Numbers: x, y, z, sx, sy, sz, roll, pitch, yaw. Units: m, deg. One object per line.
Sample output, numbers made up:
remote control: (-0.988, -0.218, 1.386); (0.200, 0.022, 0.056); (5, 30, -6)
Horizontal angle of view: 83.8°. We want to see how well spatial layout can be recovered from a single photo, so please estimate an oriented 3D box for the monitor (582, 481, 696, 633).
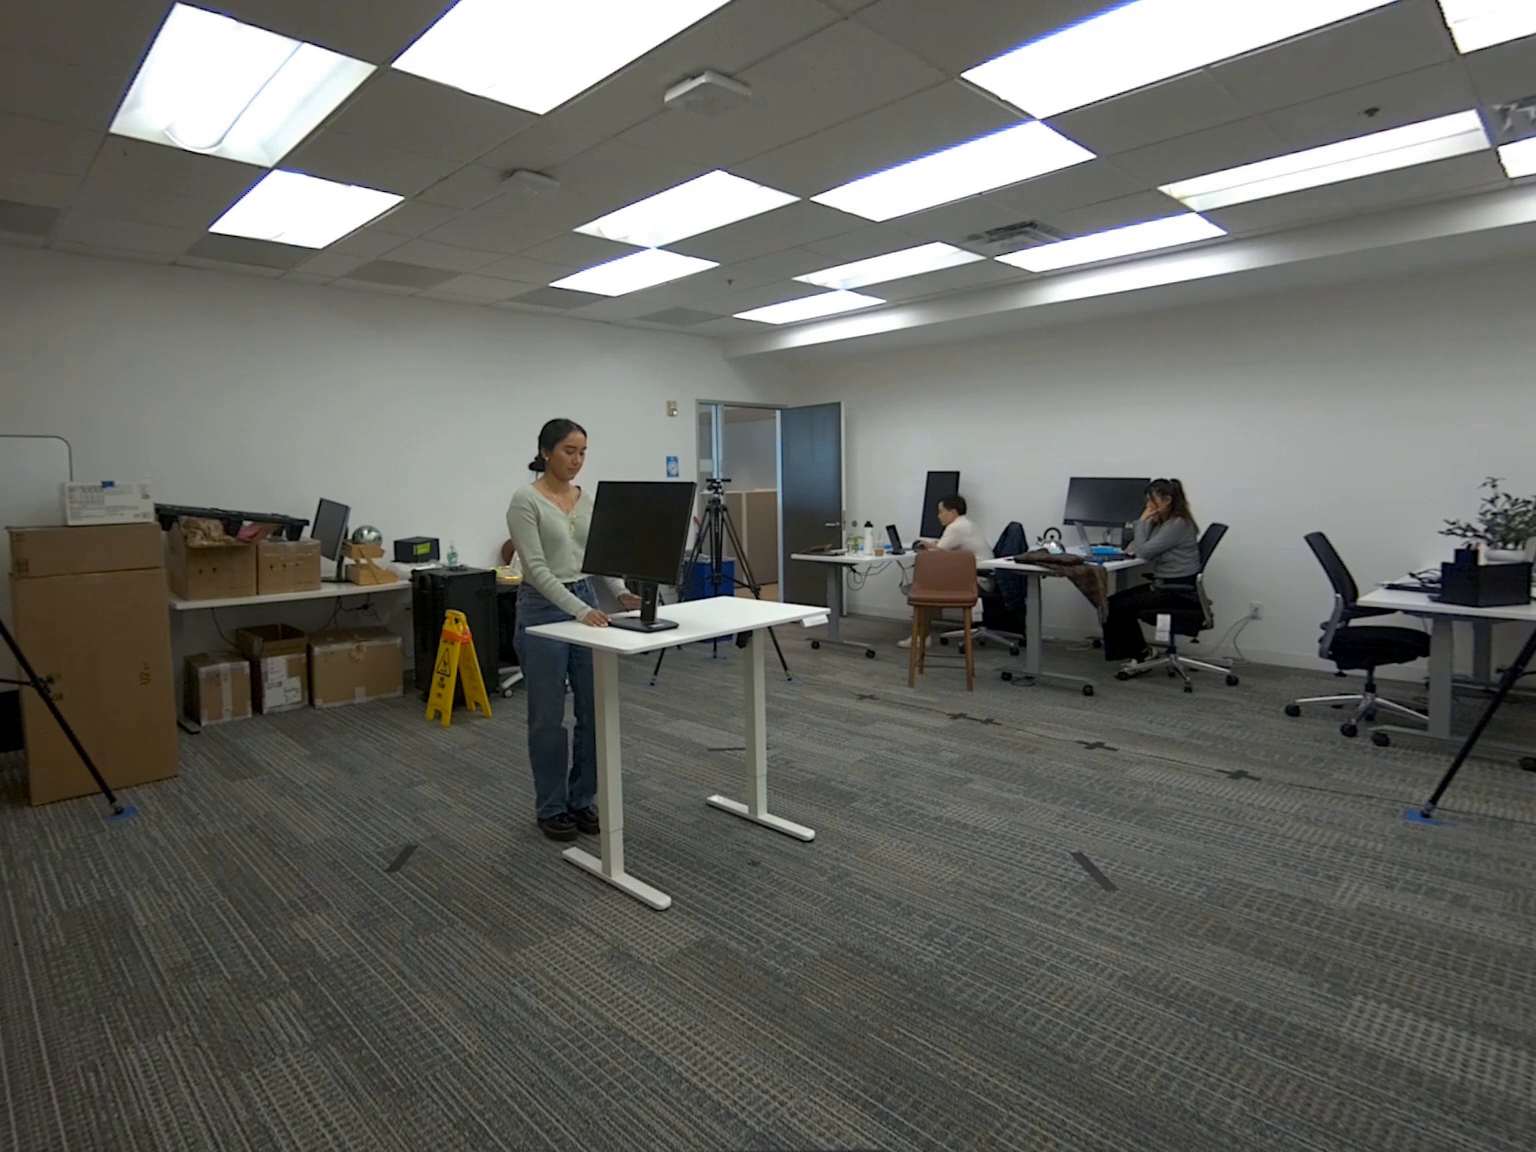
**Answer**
monitor: (-0.446, -0.078, 3.030); (0.547, 0.512, 0.170); (6, 10, 43)
